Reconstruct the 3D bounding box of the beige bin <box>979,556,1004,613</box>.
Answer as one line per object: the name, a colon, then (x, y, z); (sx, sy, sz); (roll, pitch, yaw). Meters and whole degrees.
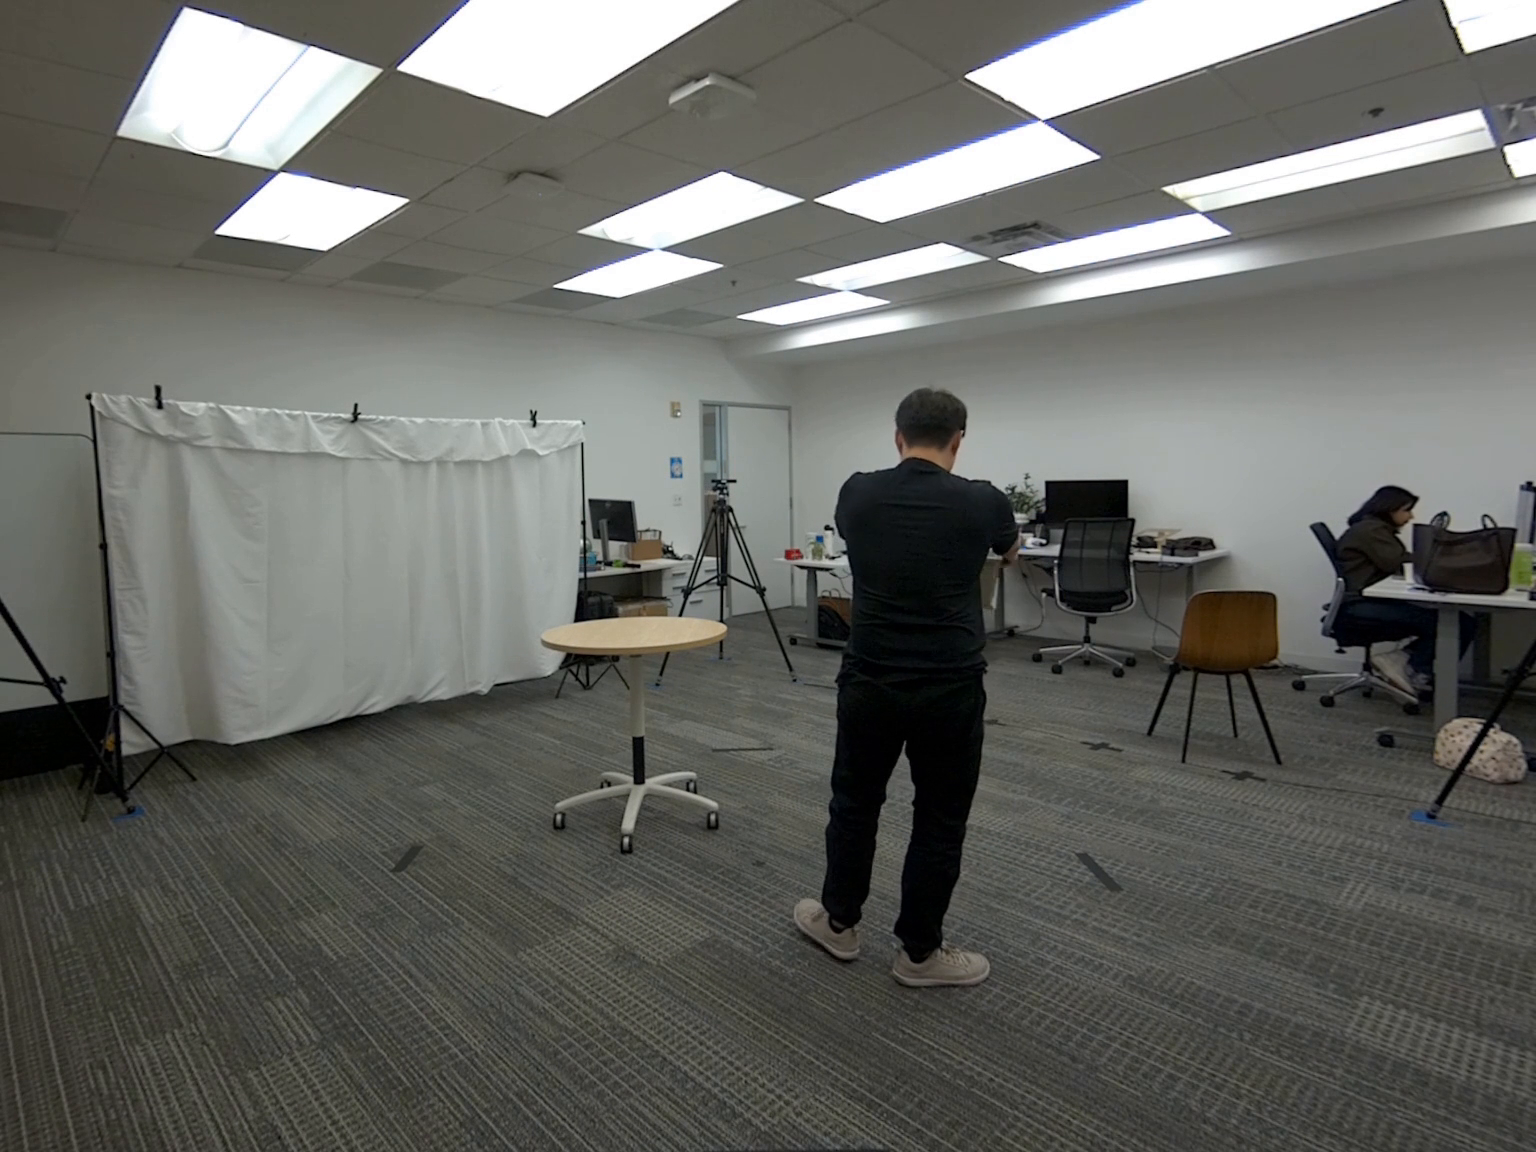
beige bin: (0.584, -0.053, 2.935); (0.430, 0.186, 0.377); (7, 21, 17)
